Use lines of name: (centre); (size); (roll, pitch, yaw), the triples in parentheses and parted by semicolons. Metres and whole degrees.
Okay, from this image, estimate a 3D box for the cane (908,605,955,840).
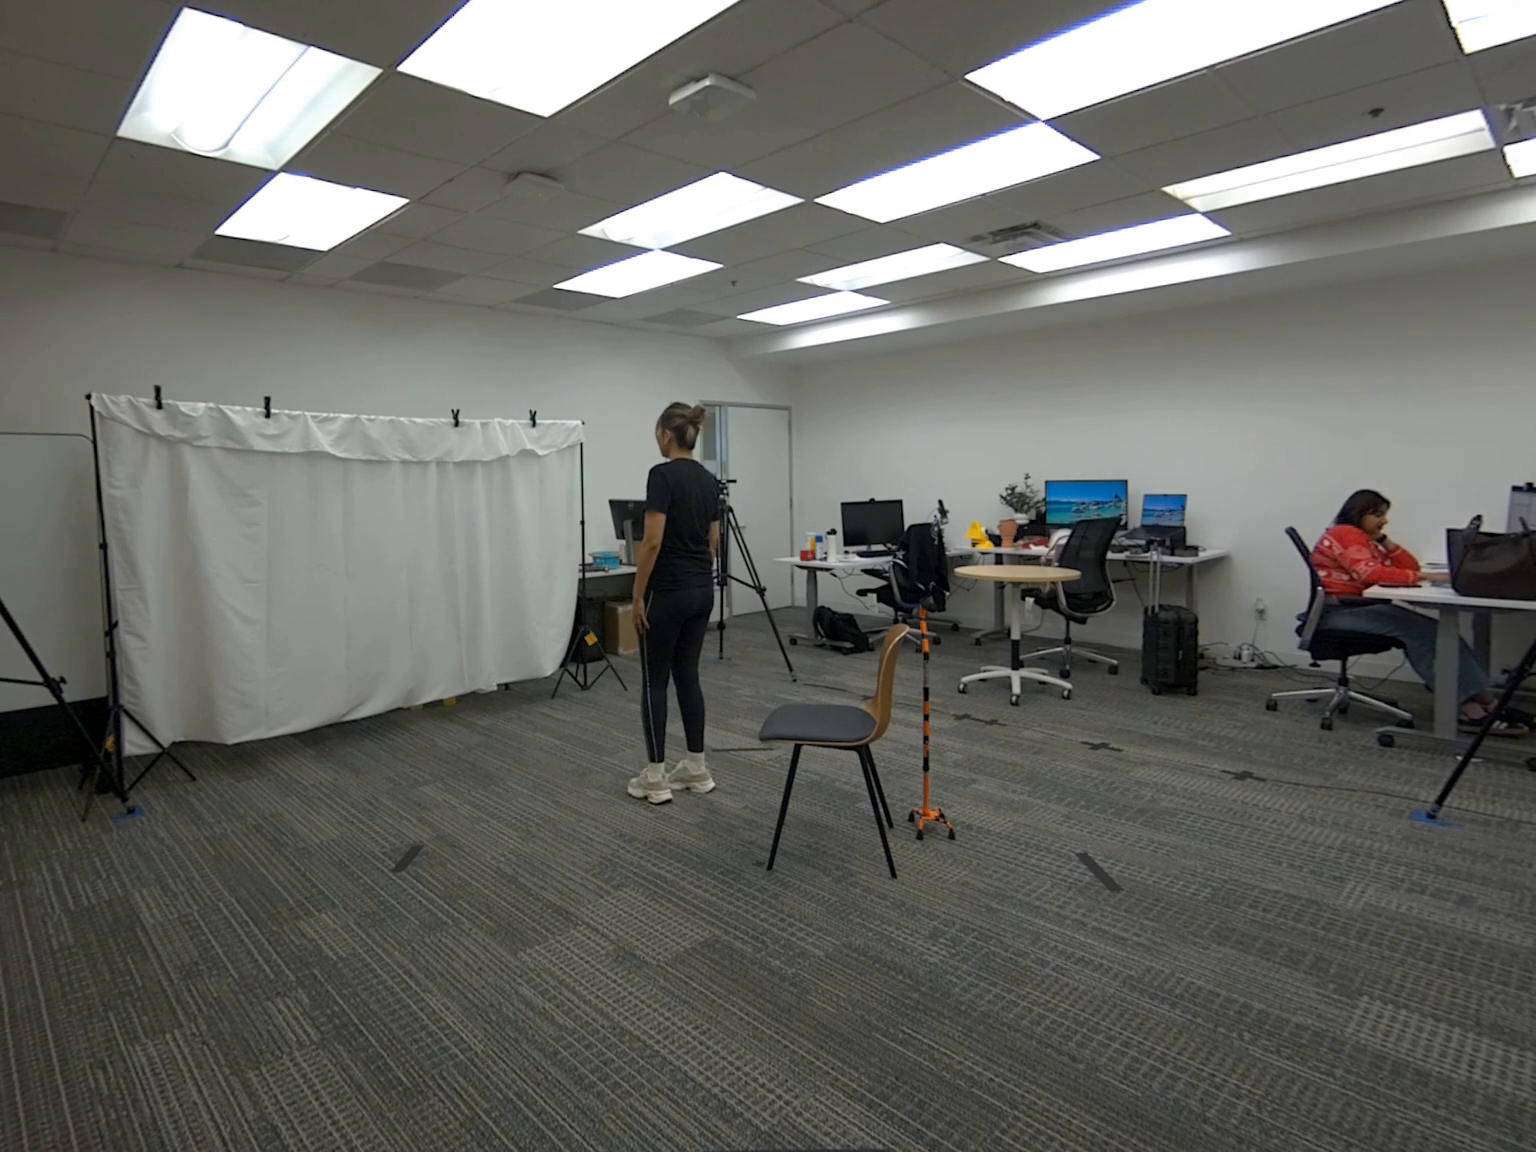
cane: (0.636, 0.552, 3.358); (0.152, 0.905, 0.206); (-1, 3, 1)
